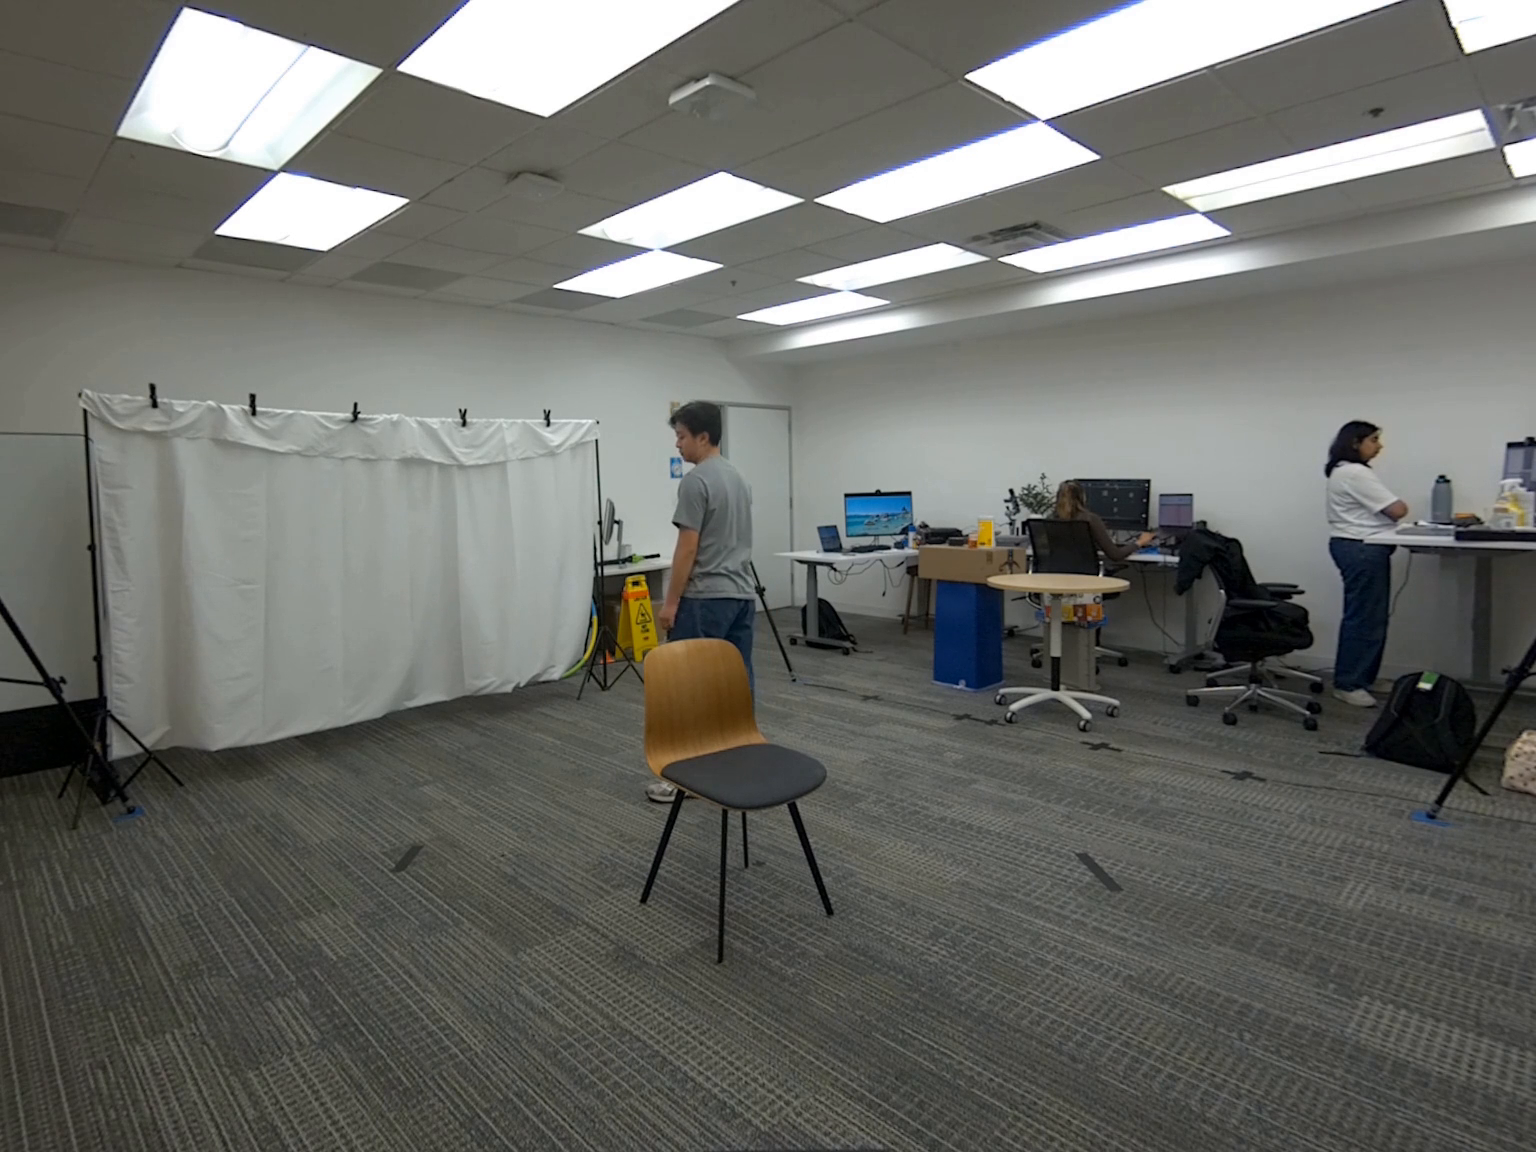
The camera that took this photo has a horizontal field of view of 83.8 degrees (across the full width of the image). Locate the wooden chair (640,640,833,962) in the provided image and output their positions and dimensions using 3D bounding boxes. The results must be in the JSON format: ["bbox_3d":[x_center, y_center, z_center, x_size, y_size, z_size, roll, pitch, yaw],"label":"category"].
[{"bbox_3d":[-0.112,0.667,2.740,0.466,0.877,0.537,-4,1,-37],"label":"wooden chair"}]
